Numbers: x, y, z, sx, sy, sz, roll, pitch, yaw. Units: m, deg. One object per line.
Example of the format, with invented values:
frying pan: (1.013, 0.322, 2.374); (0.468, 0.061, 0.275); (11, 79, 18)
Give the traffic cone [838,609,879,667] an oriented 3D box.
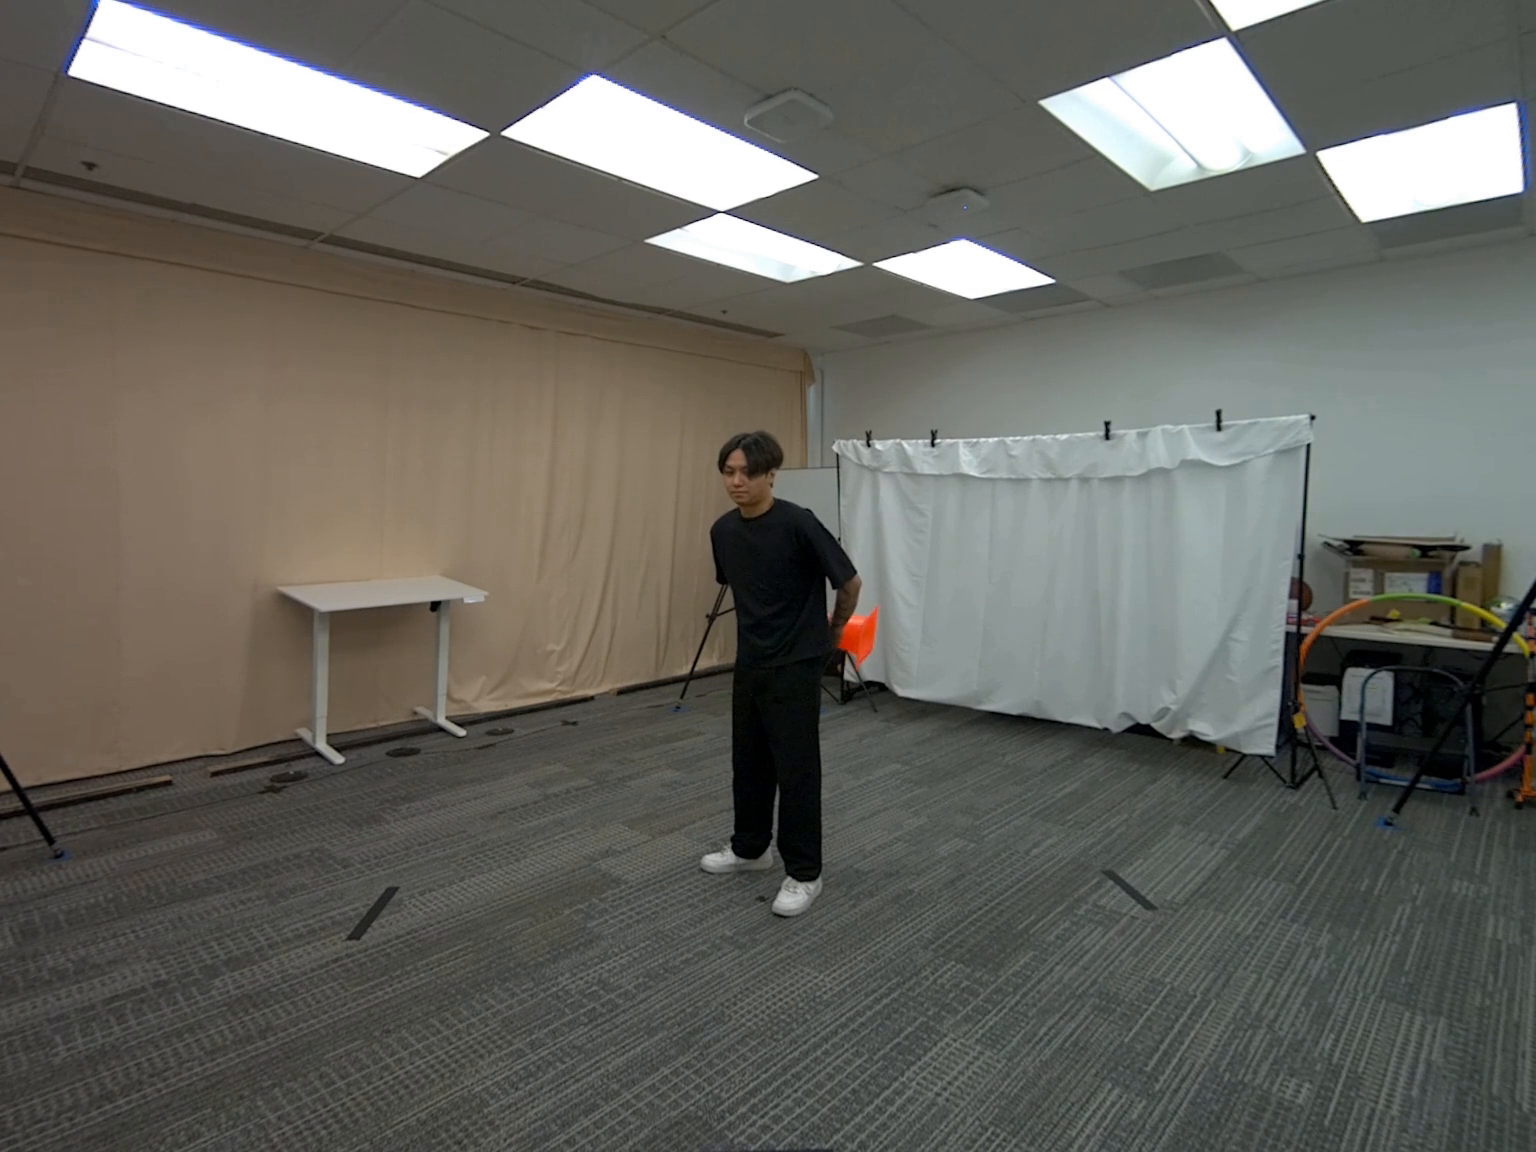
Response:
traffic cone: (0.208, 0.191, 3.226); (0.394, 0.202, 0.200); (15, 27, 25)
